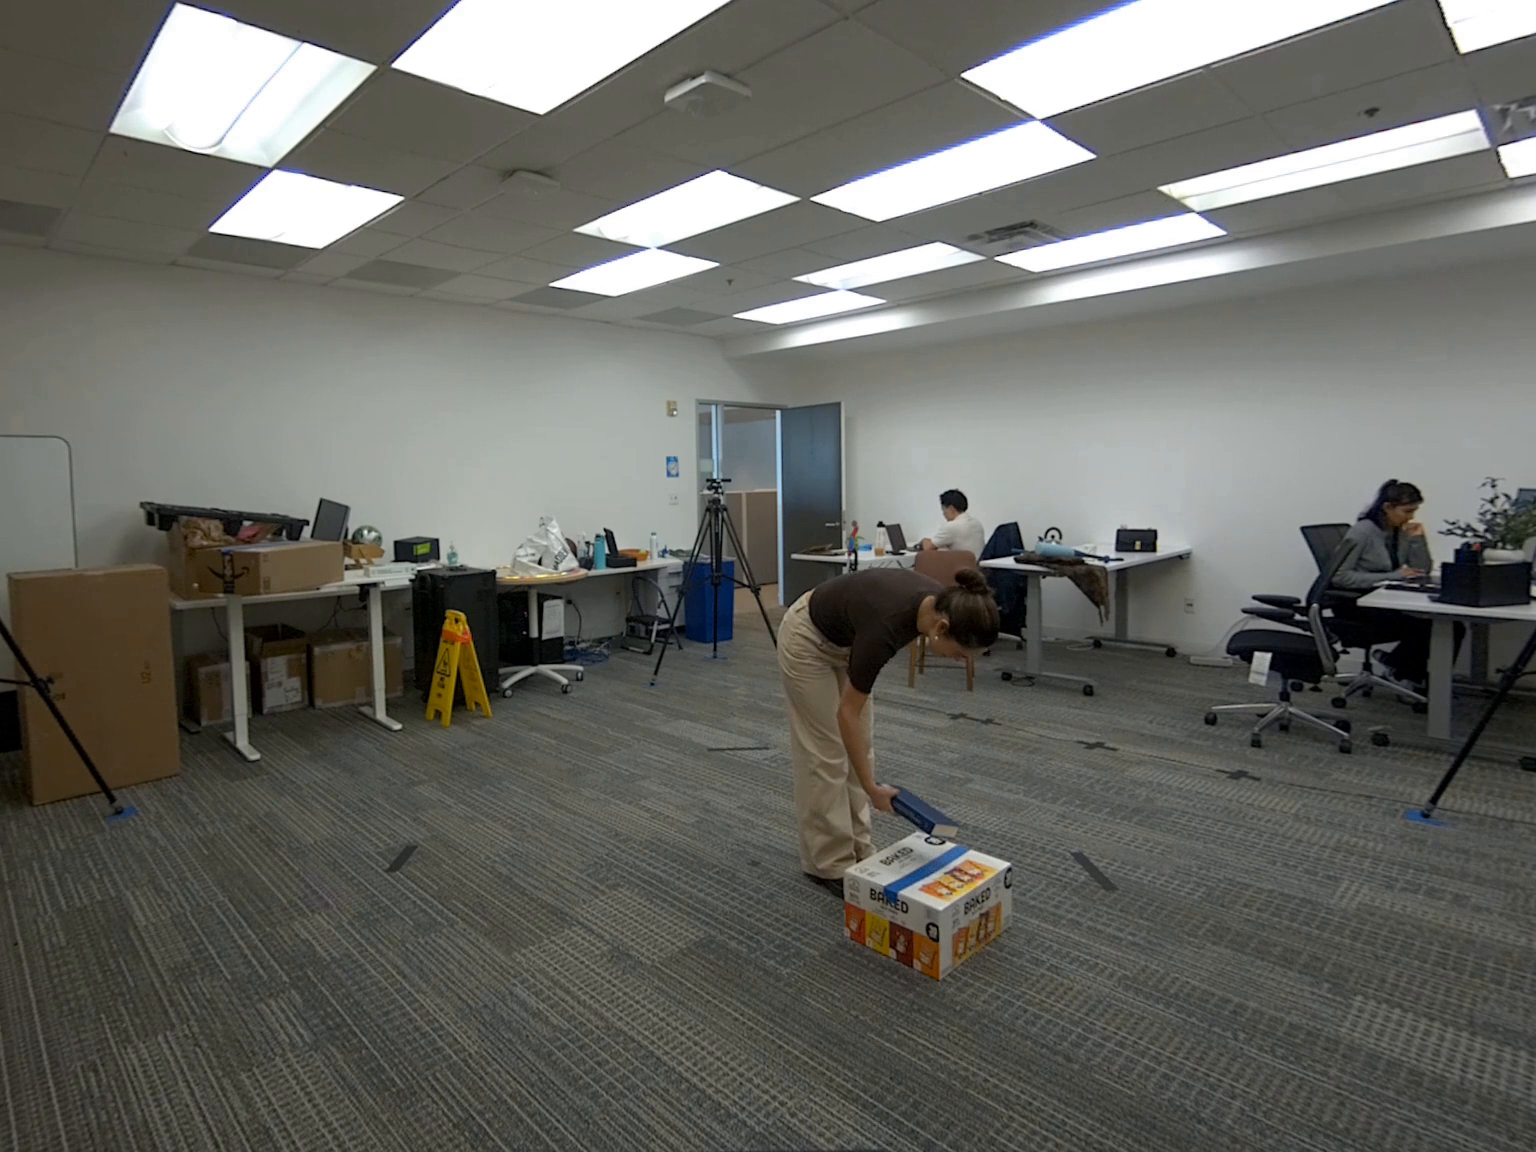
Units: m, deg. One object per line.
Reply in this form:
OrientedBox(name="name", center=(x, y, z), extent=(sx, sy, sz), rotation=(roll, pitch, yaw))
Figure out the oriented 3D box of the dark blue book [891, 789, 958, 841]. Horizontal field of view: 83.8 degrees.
OrientedBox(name="dark blue book", center=(0.474, 0.740, 2.656), extent=(0.254, 0.045, 0.157), rotation=(24, 2, 44))
